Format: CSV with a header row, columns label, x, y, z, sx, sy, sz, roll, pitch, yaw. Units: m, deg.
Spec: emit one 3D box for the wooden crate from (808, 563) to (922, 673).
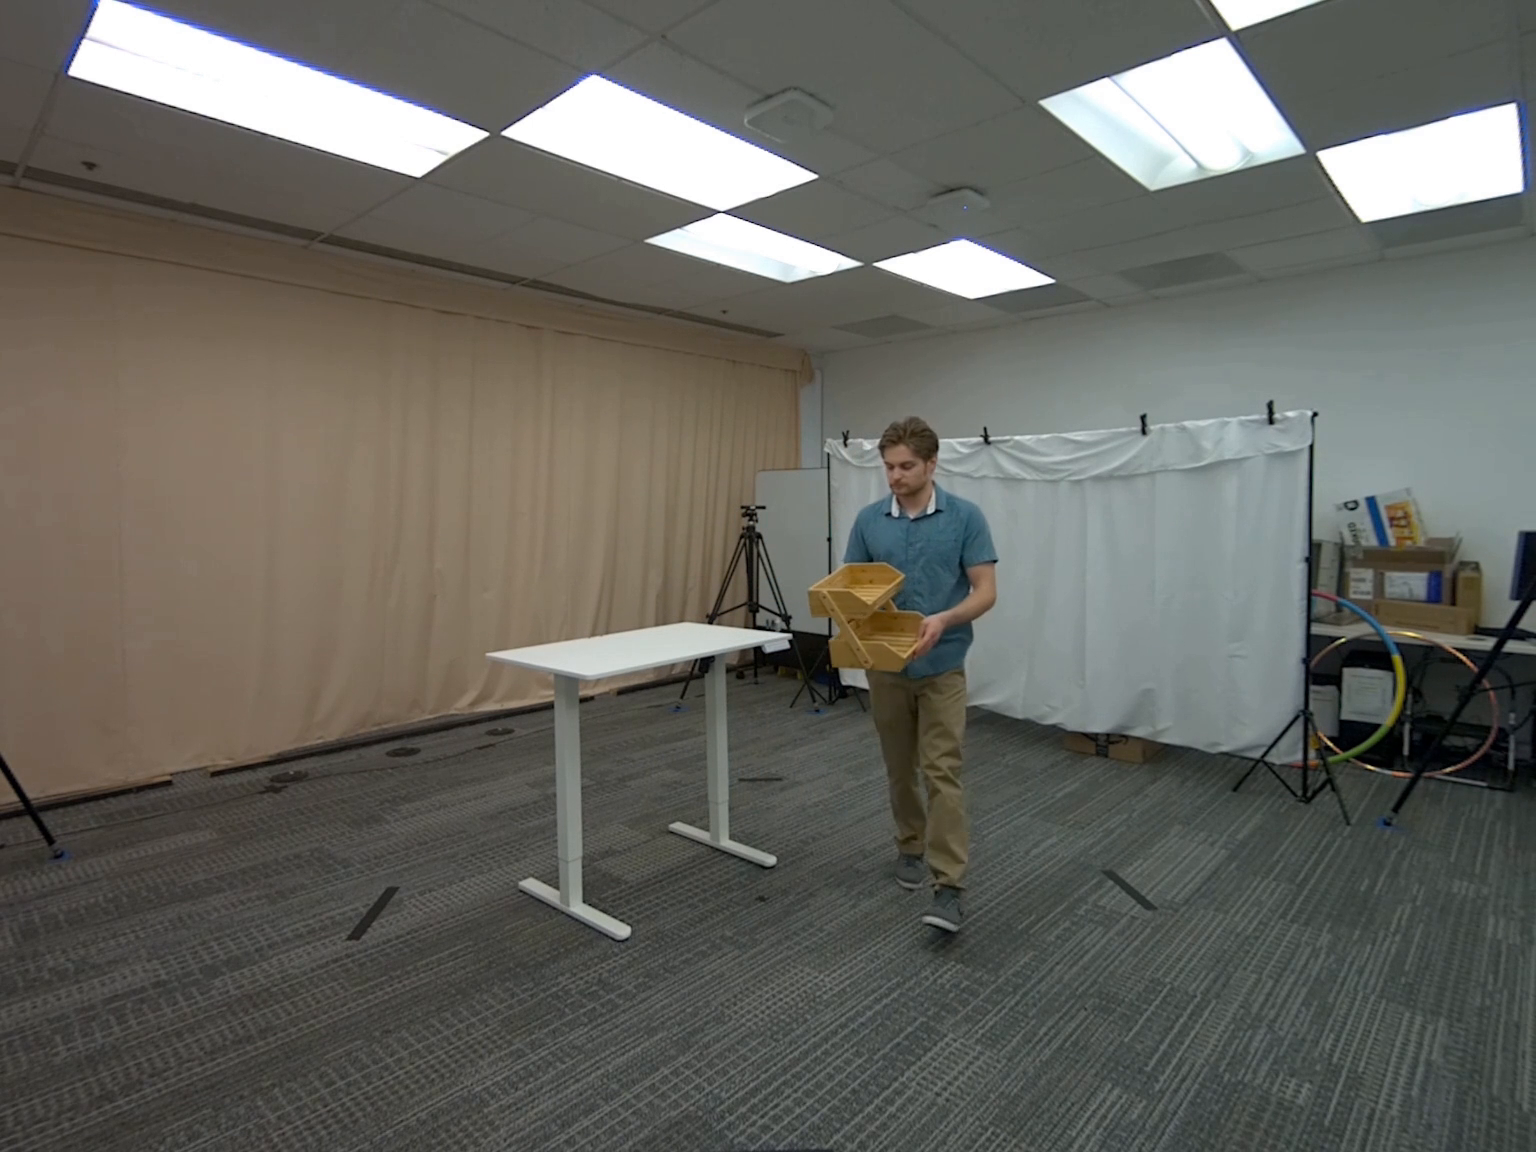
label,x,y,z,sx,sy,sz,roll,pitch,yaw
wooden crate,0.355,0.124,2.735,0.311,0.271,0.318,-1,15,32
